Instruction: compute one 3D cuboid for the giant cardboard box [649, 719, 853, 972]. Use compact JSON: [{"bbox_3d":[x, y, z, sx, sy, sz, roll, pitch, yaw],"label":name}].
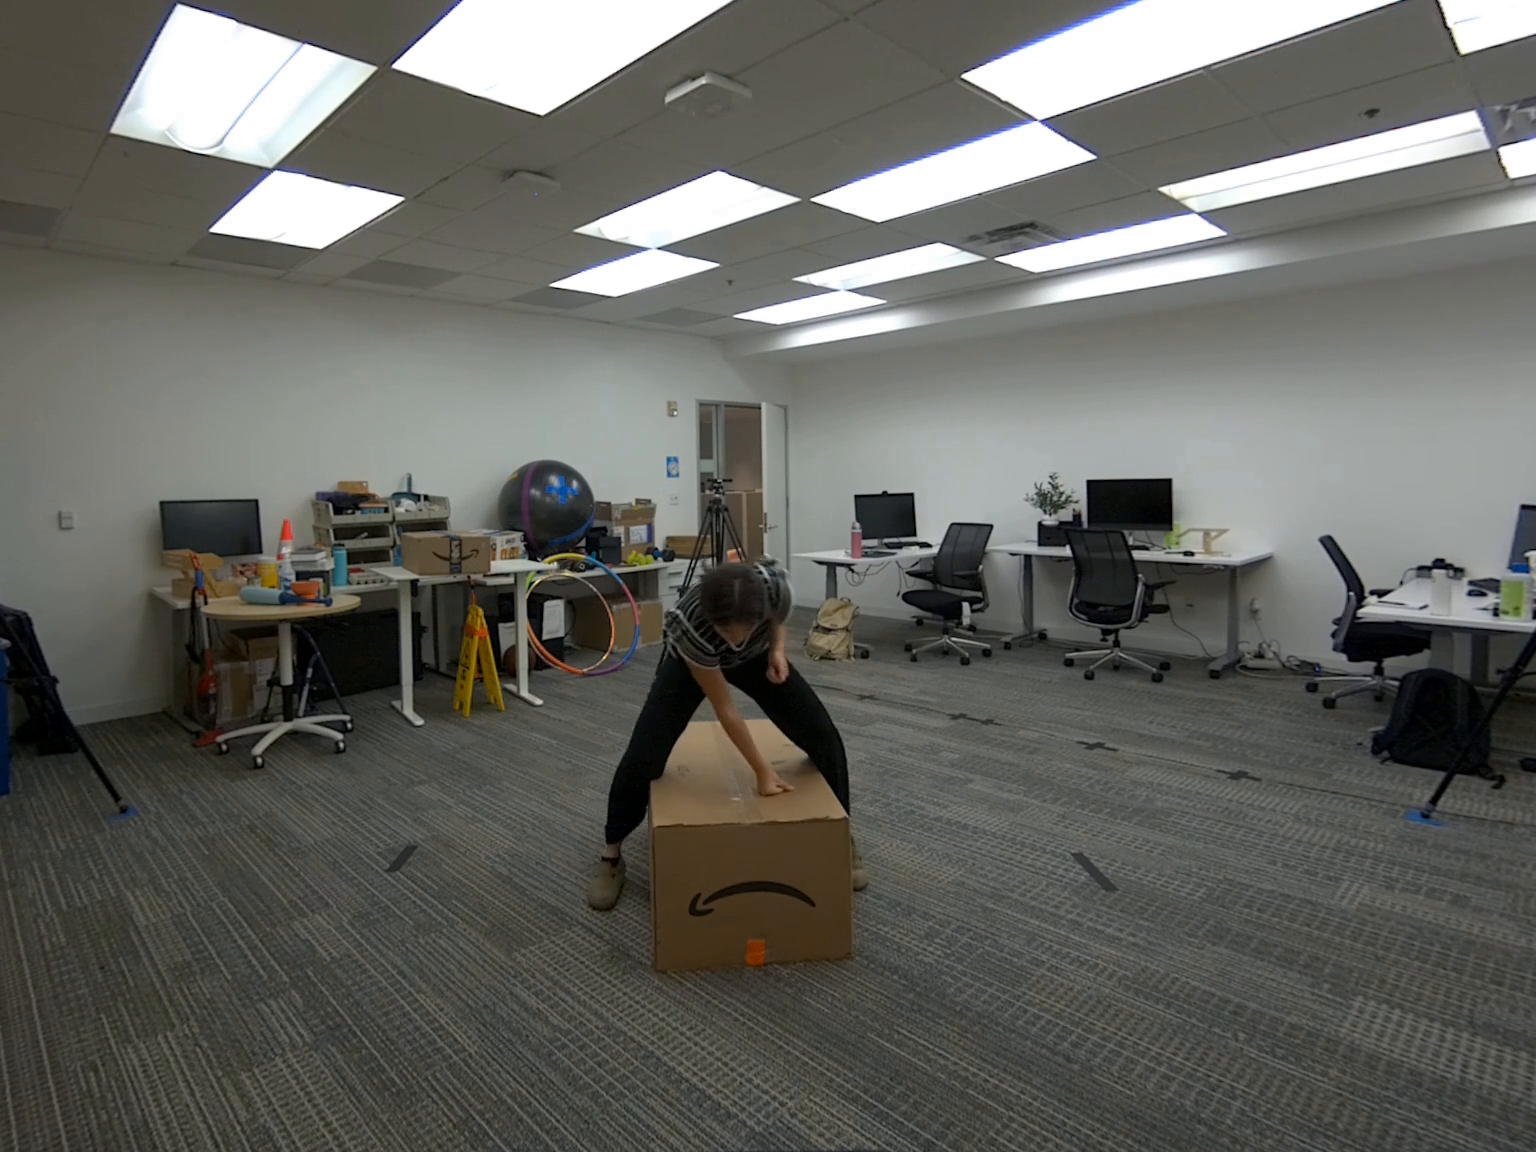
[{"bbox_3d":[-0.117,0.859,2.949,0.574,0.424,1.038,-1,6,-8],"label":"giant cardboard box"}]
